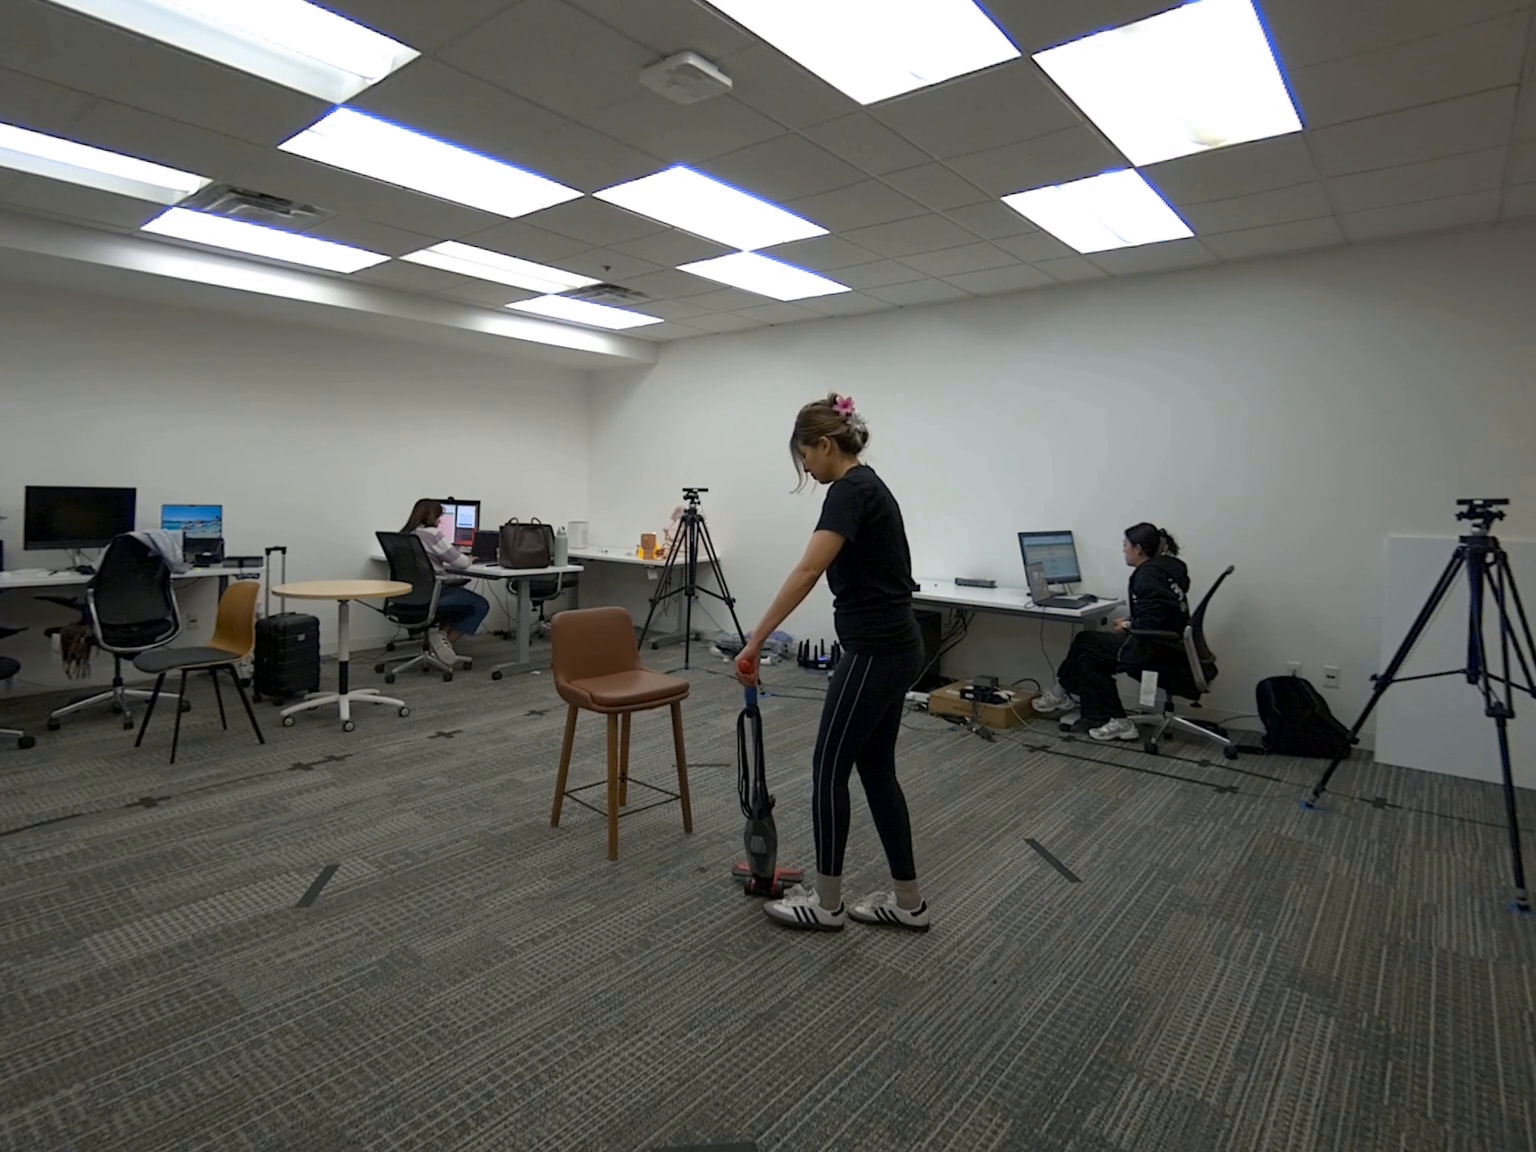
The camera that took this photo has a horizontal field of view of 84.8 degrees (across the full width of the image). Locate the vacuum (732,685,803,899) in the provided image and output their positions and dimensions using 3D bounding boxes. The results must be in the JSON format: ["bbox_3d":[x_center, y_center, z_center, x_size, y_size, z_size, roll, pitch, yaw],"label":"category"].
[{"bbox_3d":[-0.054,0.668,2.668,0.257,1.017,0.146,6,39,15],"label":"vacuum"}]
